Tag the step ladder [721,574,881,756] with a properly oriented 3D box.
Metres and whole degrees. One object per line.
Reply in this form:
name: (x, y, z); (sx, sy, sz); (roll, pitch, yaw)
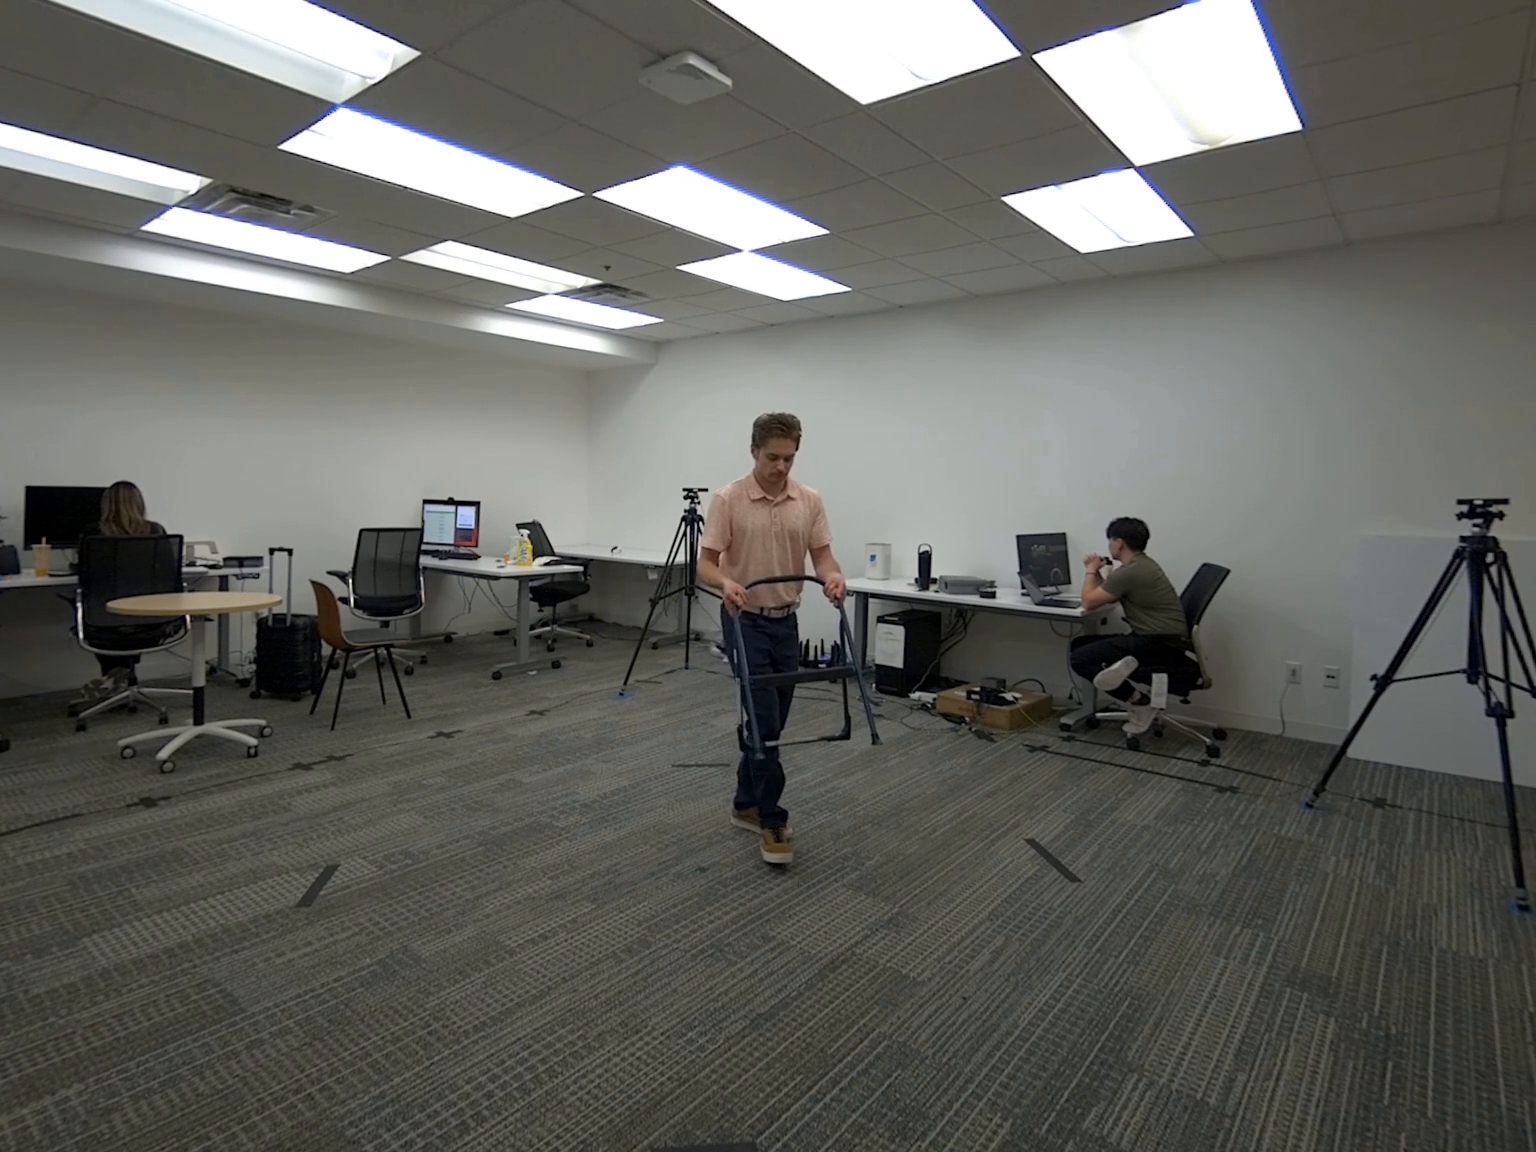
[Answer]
step ladder: (0.094, 0.292, 2.971); (0.426, 0.612, 0.349); (-5, -9, -12)
